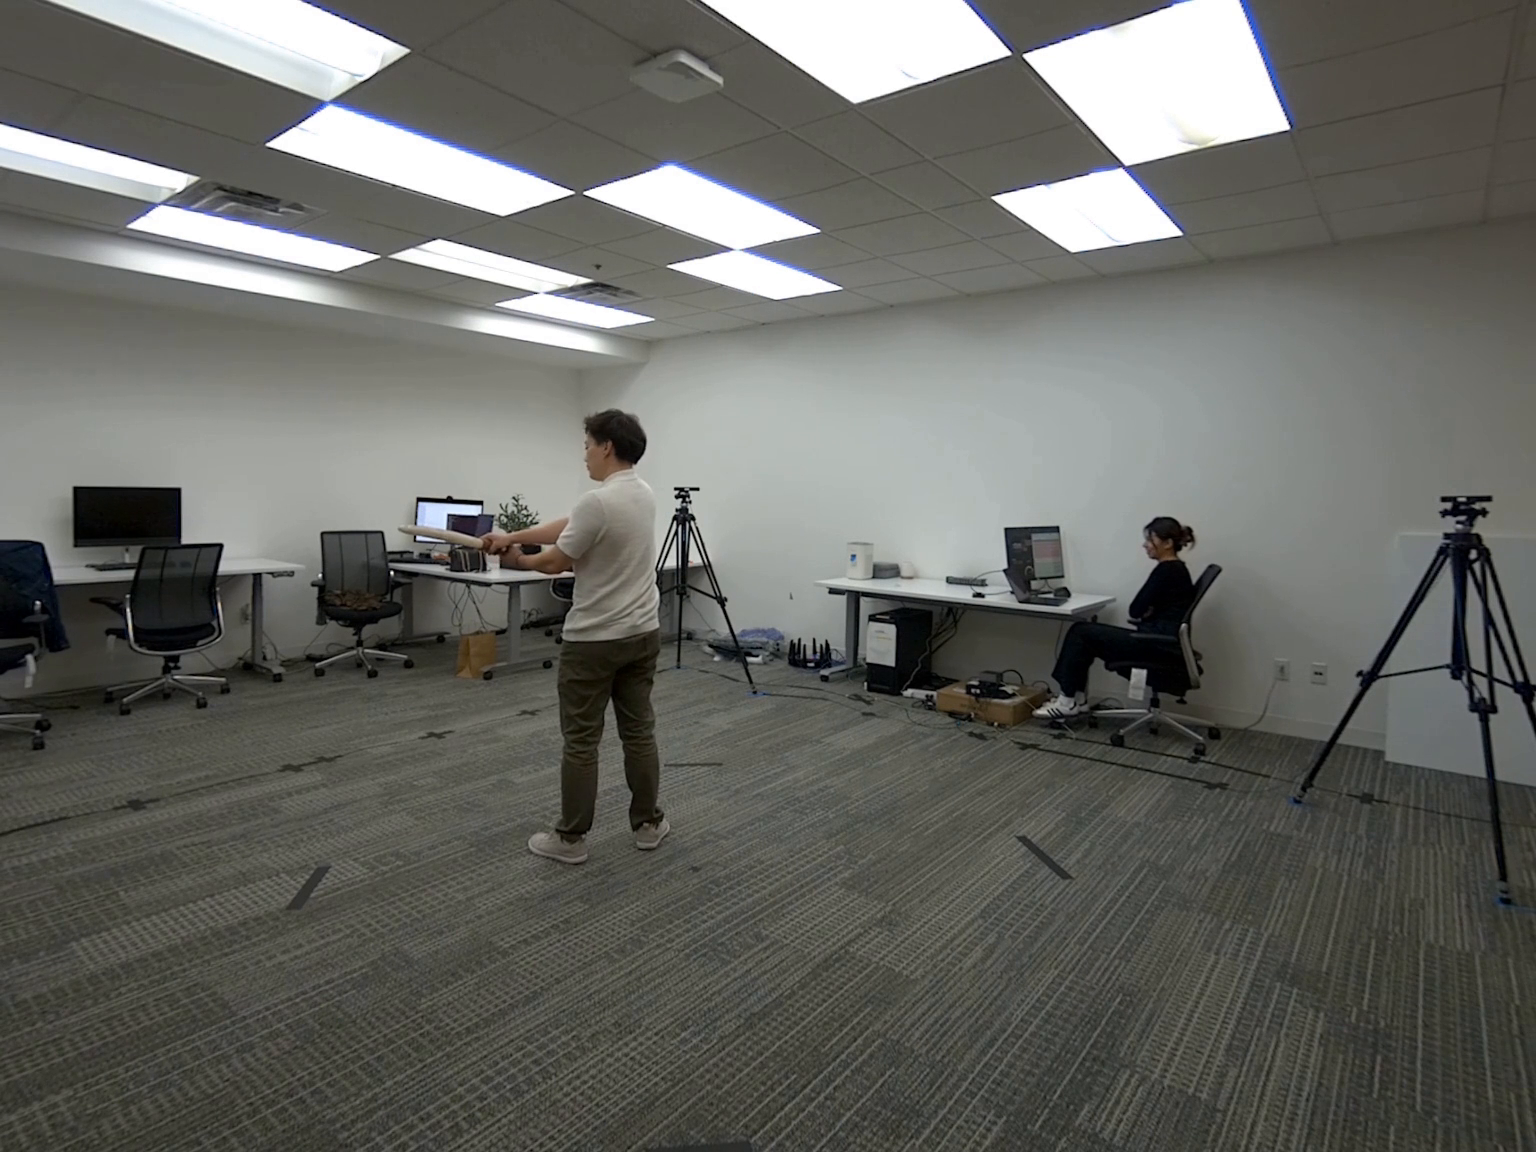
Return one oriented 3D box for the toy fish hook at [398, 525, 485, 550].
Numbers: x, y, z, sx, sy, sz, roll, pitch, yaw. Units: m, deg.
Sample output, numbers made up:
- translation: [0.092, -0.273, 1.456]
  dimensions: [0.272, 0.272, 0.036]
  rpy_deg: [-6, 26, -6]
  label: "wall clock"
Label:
- translation: [-1.160, -0.135, 3.191]
  dimensions: [0.232, 0.048, 0.489]
  rpy_deg: [12, -4, 29]
  label: "toy fish hook"
